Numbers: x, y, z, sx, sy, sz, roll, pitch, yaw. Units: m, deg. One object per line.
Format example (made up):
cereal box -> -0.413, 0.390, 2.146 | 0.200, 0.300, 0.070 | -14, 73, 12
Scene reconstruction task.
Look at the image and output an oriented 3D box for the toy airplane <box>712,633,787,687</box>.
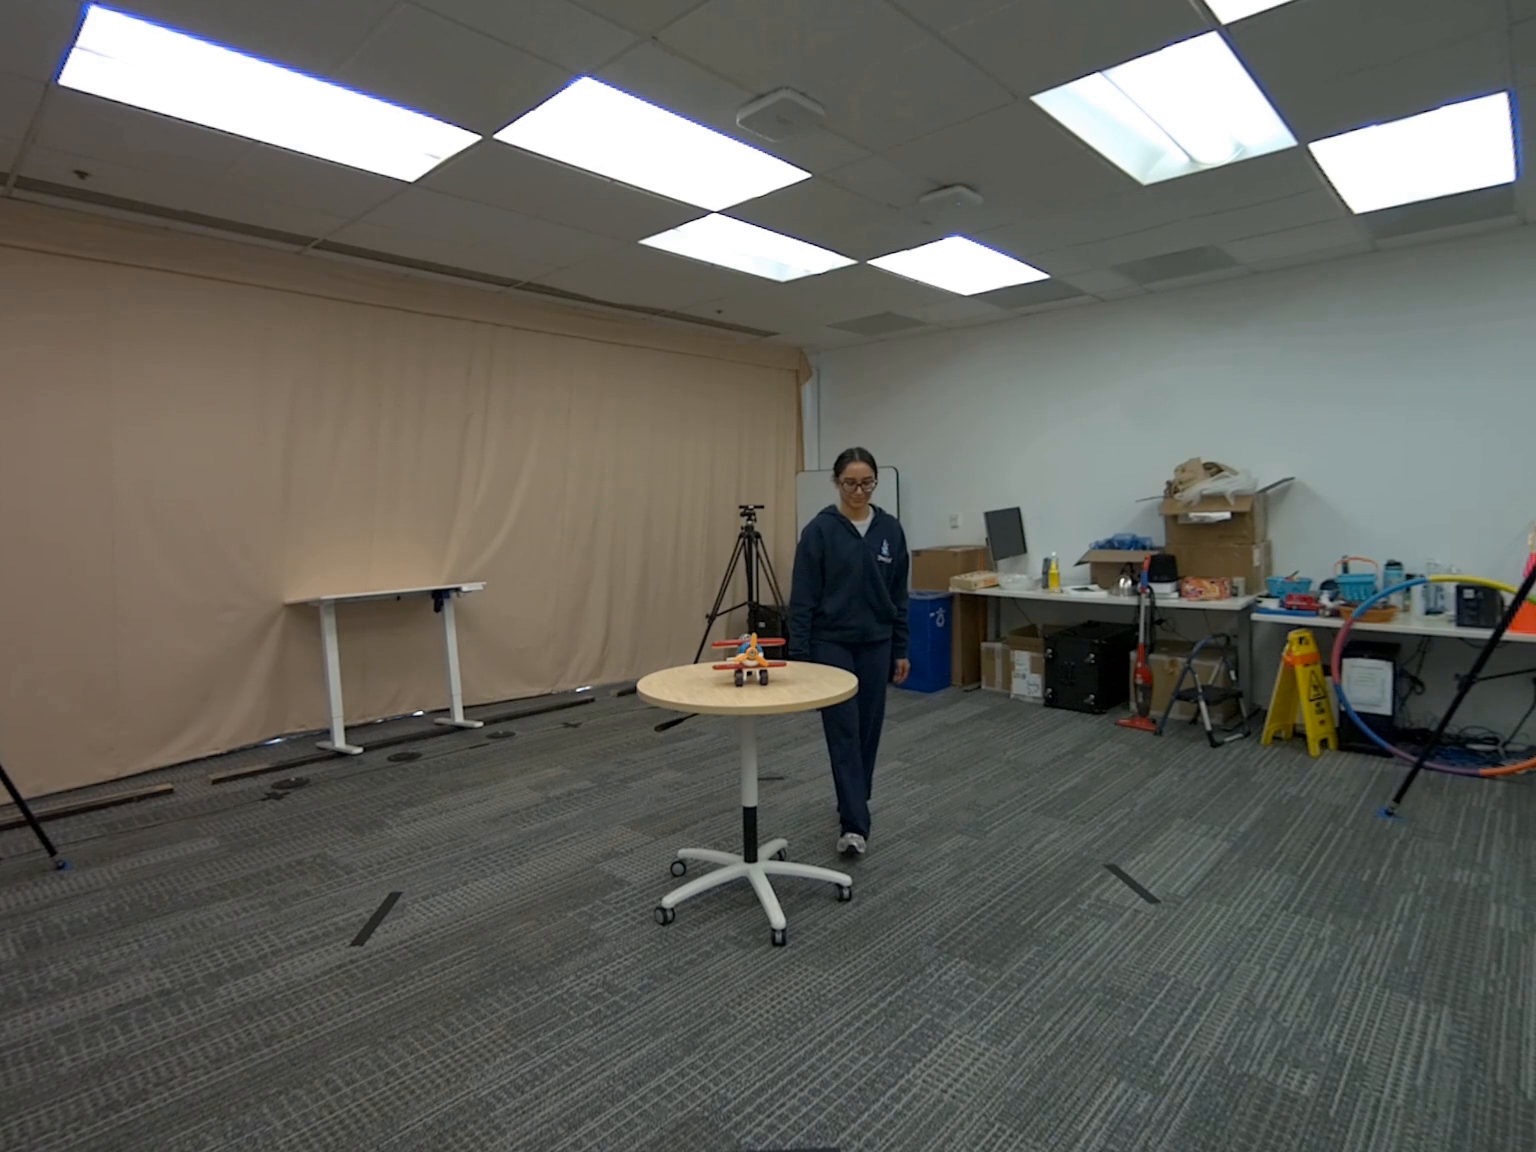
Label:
toy airplane -> -0.087, 0.292, 2.927 | 0.244, 0.156, 0.267 | -4, 4, -32
